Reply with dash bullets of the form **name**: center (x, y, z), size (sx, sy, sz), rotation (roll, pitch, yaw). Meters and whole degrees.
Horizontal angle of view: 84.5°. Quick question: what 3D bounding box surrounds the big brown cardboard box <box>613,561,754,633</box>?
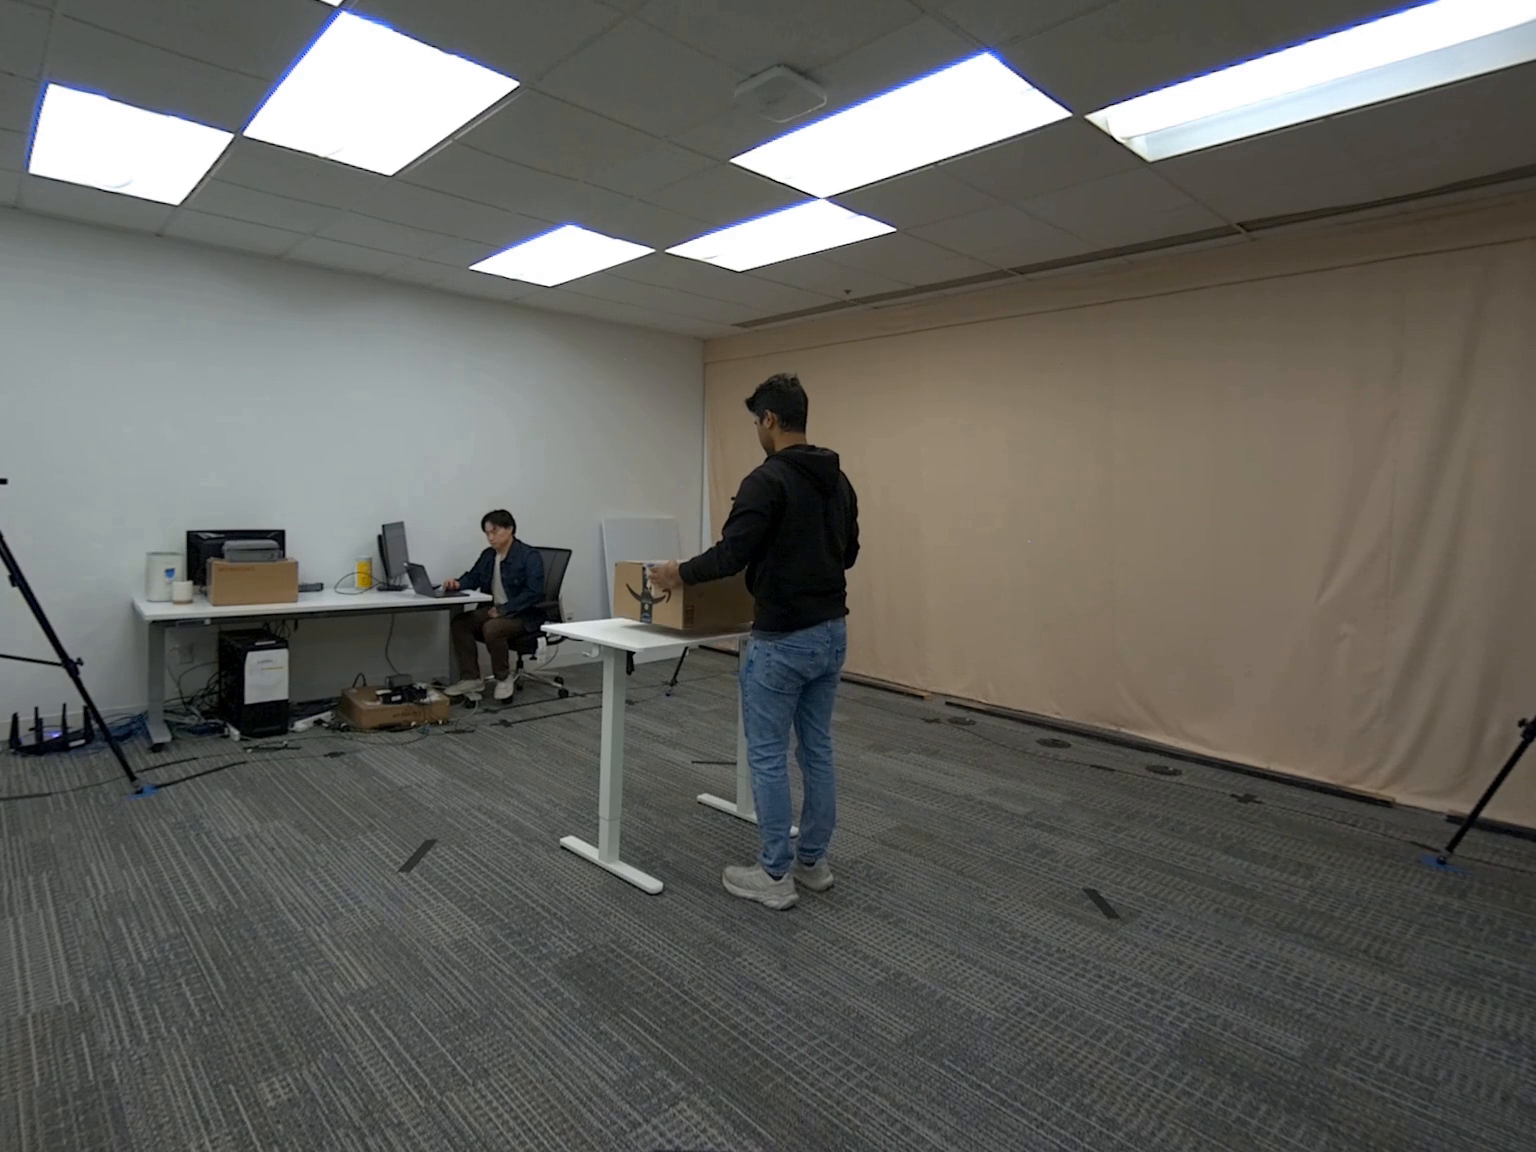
- **big brown cardboard box**: center (-0.254, 0.053, 3.313), size (0.428, 0.232, 0.576), rotation (7, 7, 44)
